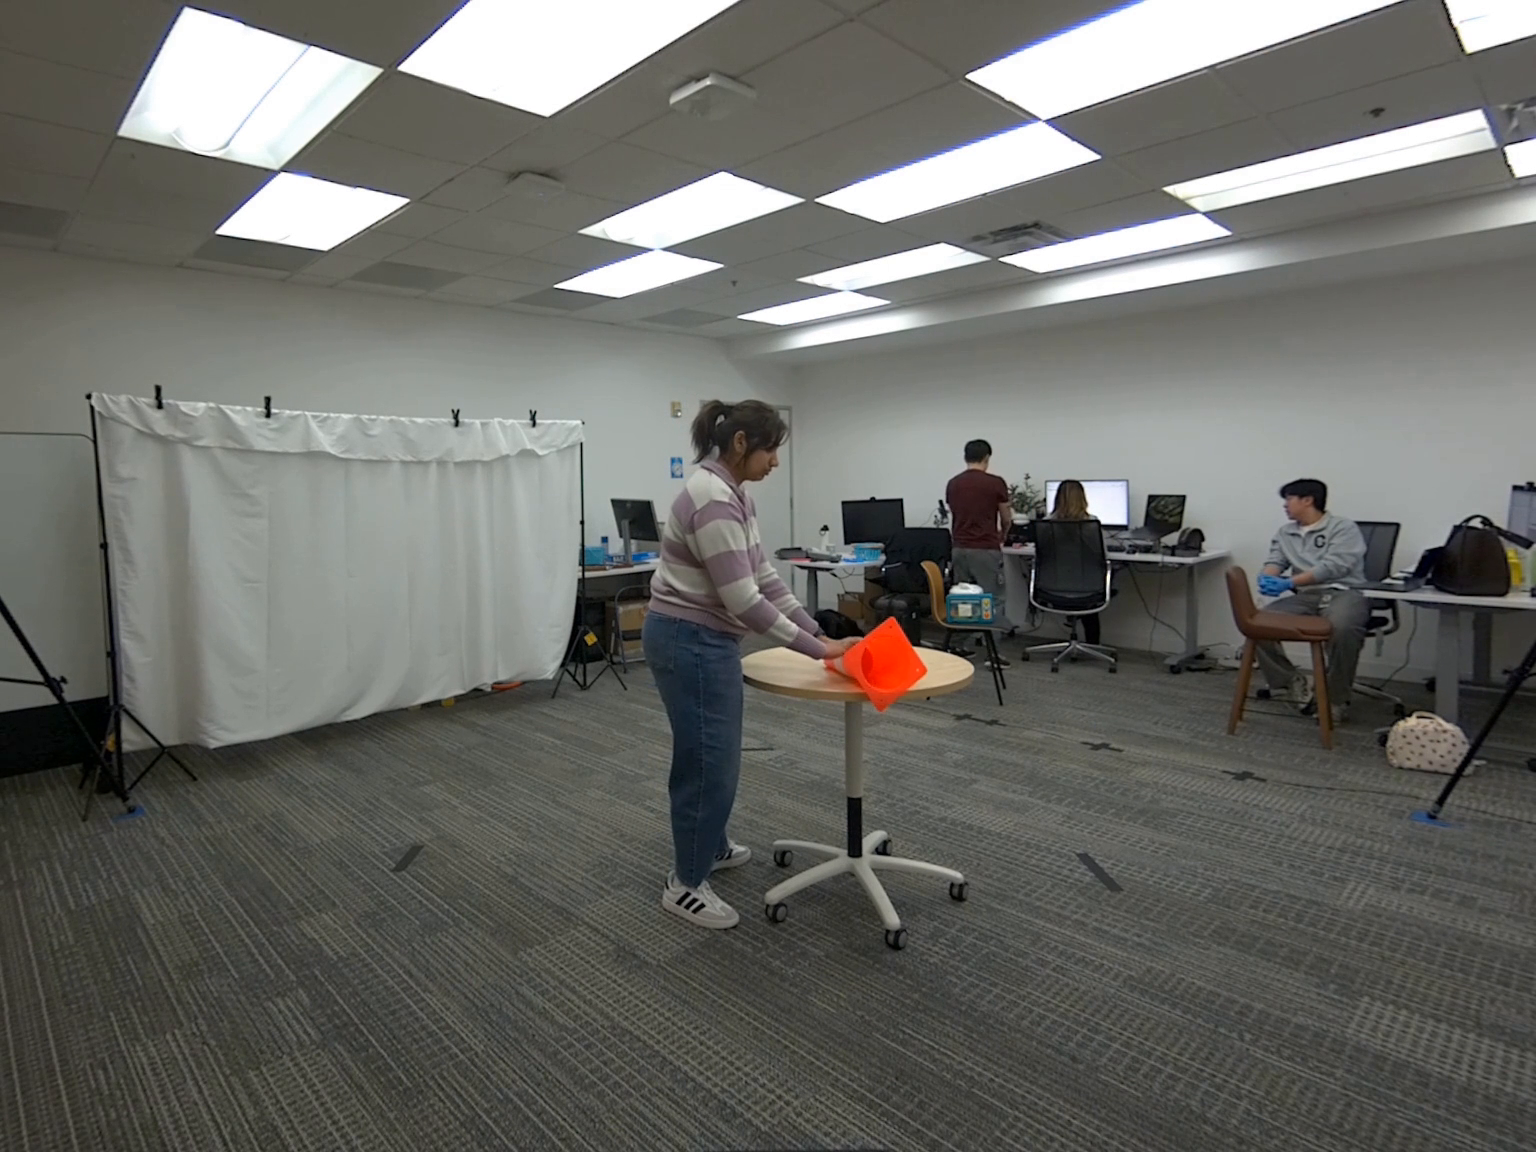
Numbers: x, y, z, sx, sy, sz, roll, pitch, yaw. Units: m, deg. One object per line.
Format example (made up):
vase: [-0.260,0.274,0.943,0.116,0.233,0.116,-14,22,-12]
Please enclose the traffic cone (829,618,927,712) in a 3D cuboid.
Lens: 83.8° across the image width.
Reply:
traffic cone: [0.271,0.260,2.610,0.204,0.202,0.389,-36,8,-19]
